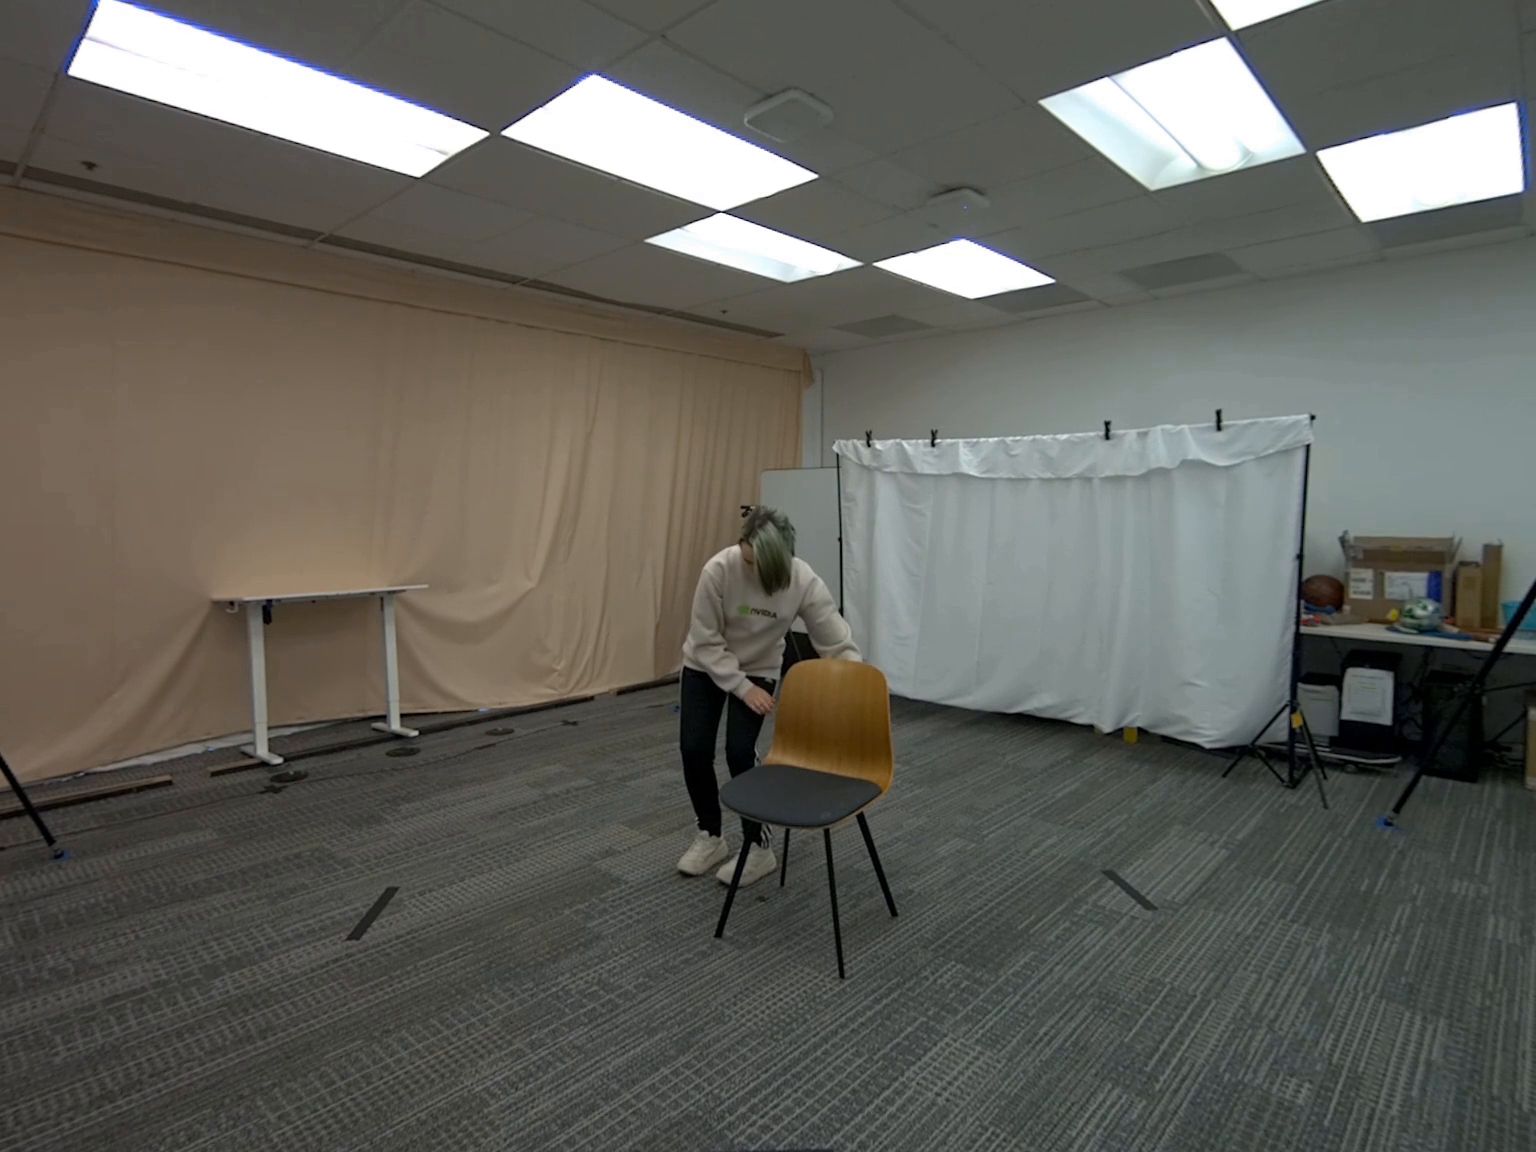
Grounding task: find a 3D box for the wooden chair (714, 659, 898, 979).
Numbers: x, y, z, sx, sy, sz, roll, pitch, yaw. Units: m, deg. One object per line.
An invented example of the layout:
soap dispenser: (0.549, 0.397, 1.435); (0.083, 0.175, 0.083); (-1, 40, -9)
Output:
wooden chair: (0.138, 0.735, 2.743); (0.492, 0.877, 0.508); (2, 0, 31)
